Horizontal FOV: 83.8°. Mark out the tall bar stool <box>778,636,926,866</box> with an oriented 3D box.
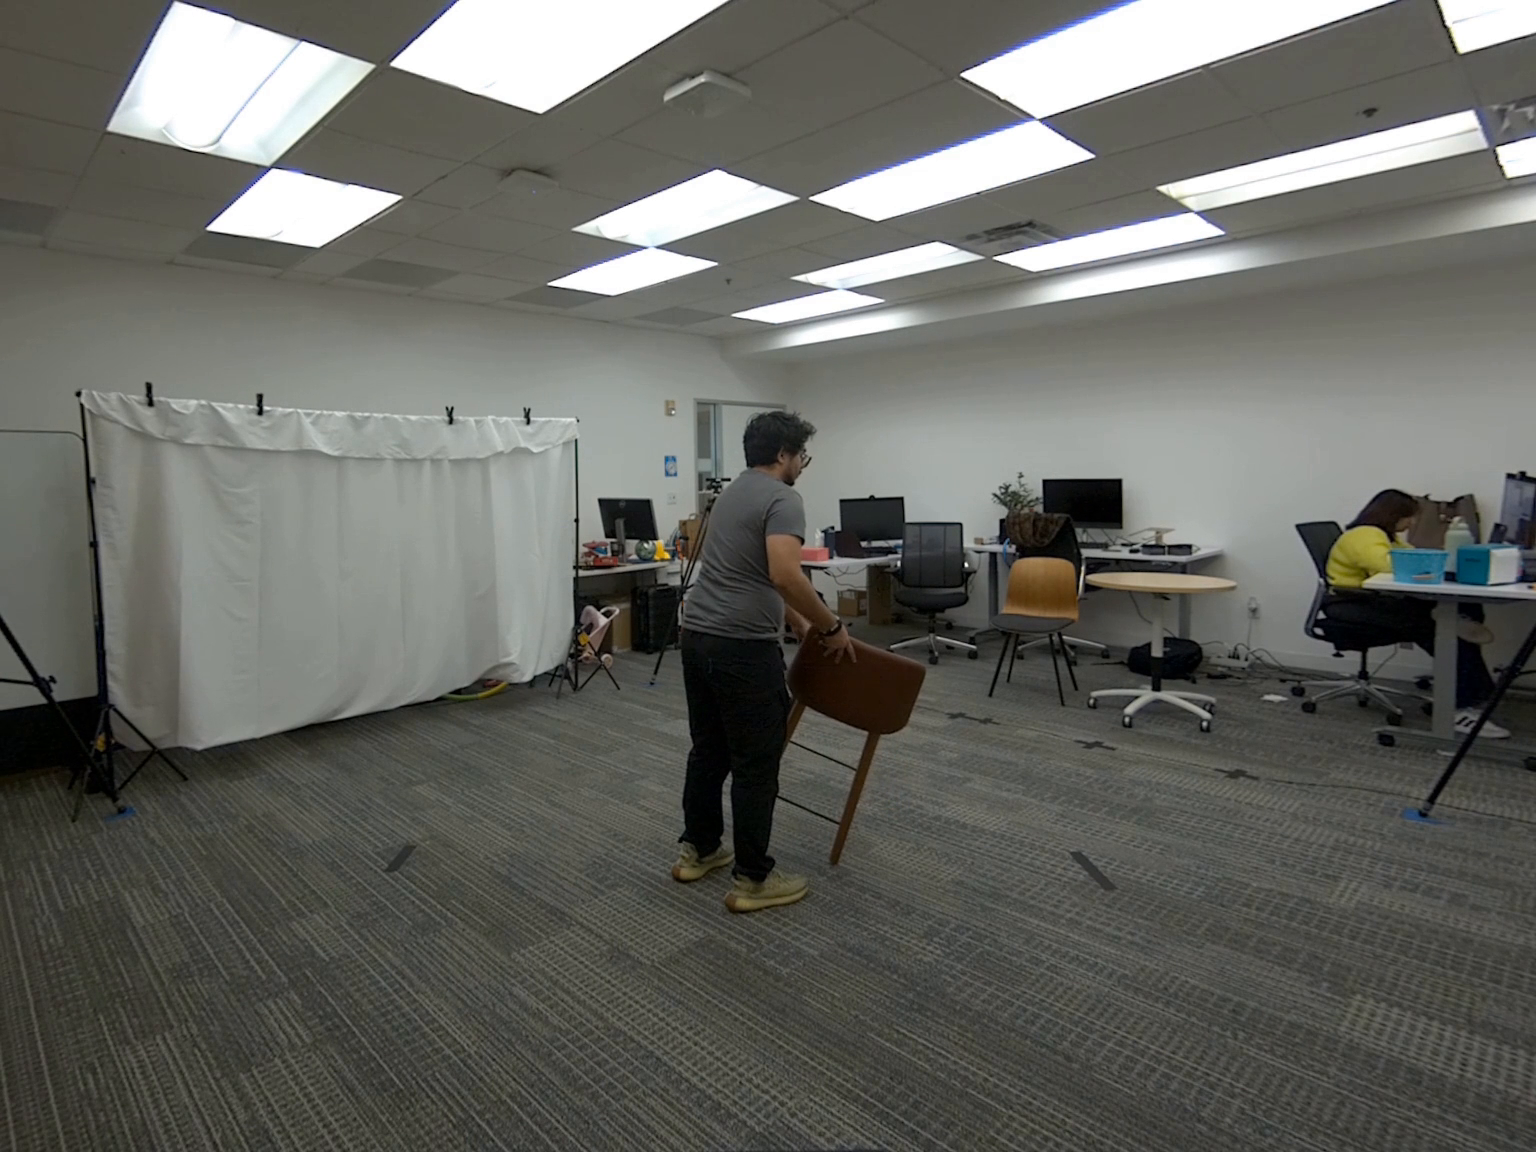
[{"bbox_3d":[0.257,0.529,3.158,0.461,0.879,0.468,22,24,7],"label":"tall bar stool"}]
